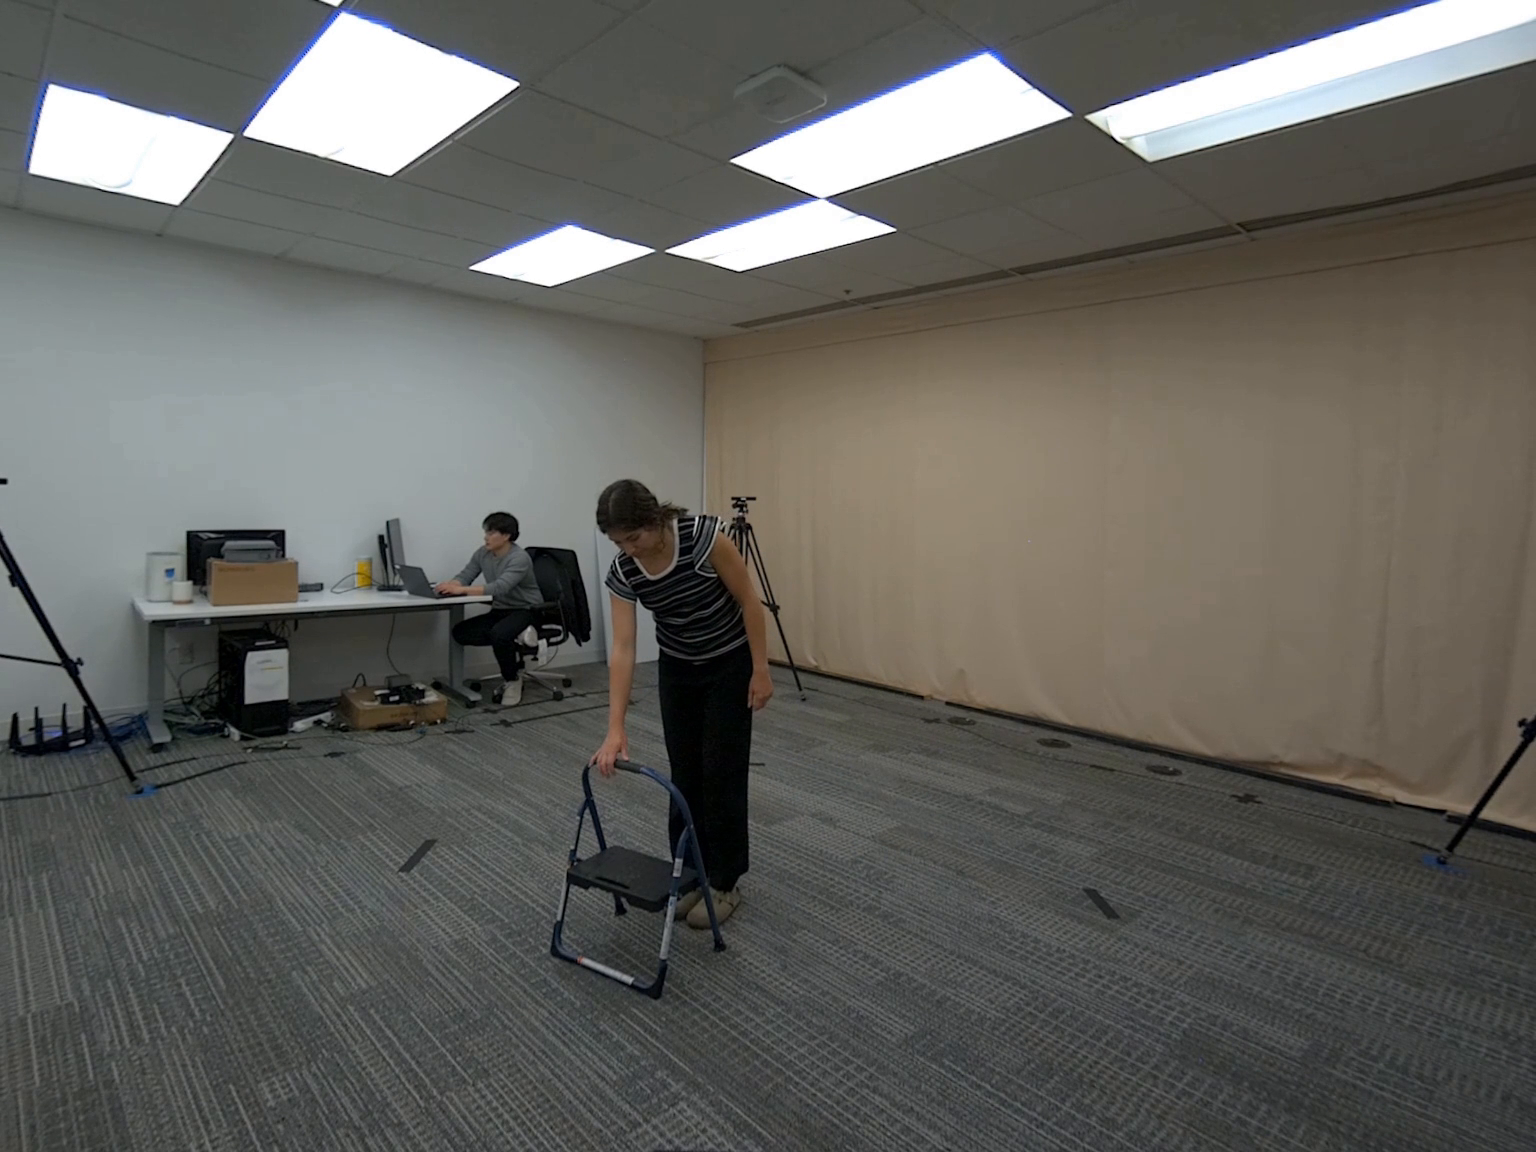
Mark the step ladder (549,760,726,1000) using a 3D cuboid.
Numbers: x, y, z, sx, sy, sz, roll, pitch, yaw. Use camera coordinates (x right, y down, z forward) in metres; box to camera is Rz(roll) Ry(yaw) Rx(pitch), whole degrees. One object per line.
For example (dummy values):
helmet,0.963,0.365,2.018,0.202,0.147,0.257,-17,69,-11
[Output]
step ladder,-0.400,0.849,2.559,0.440,0.605,0.342,3,4,31
